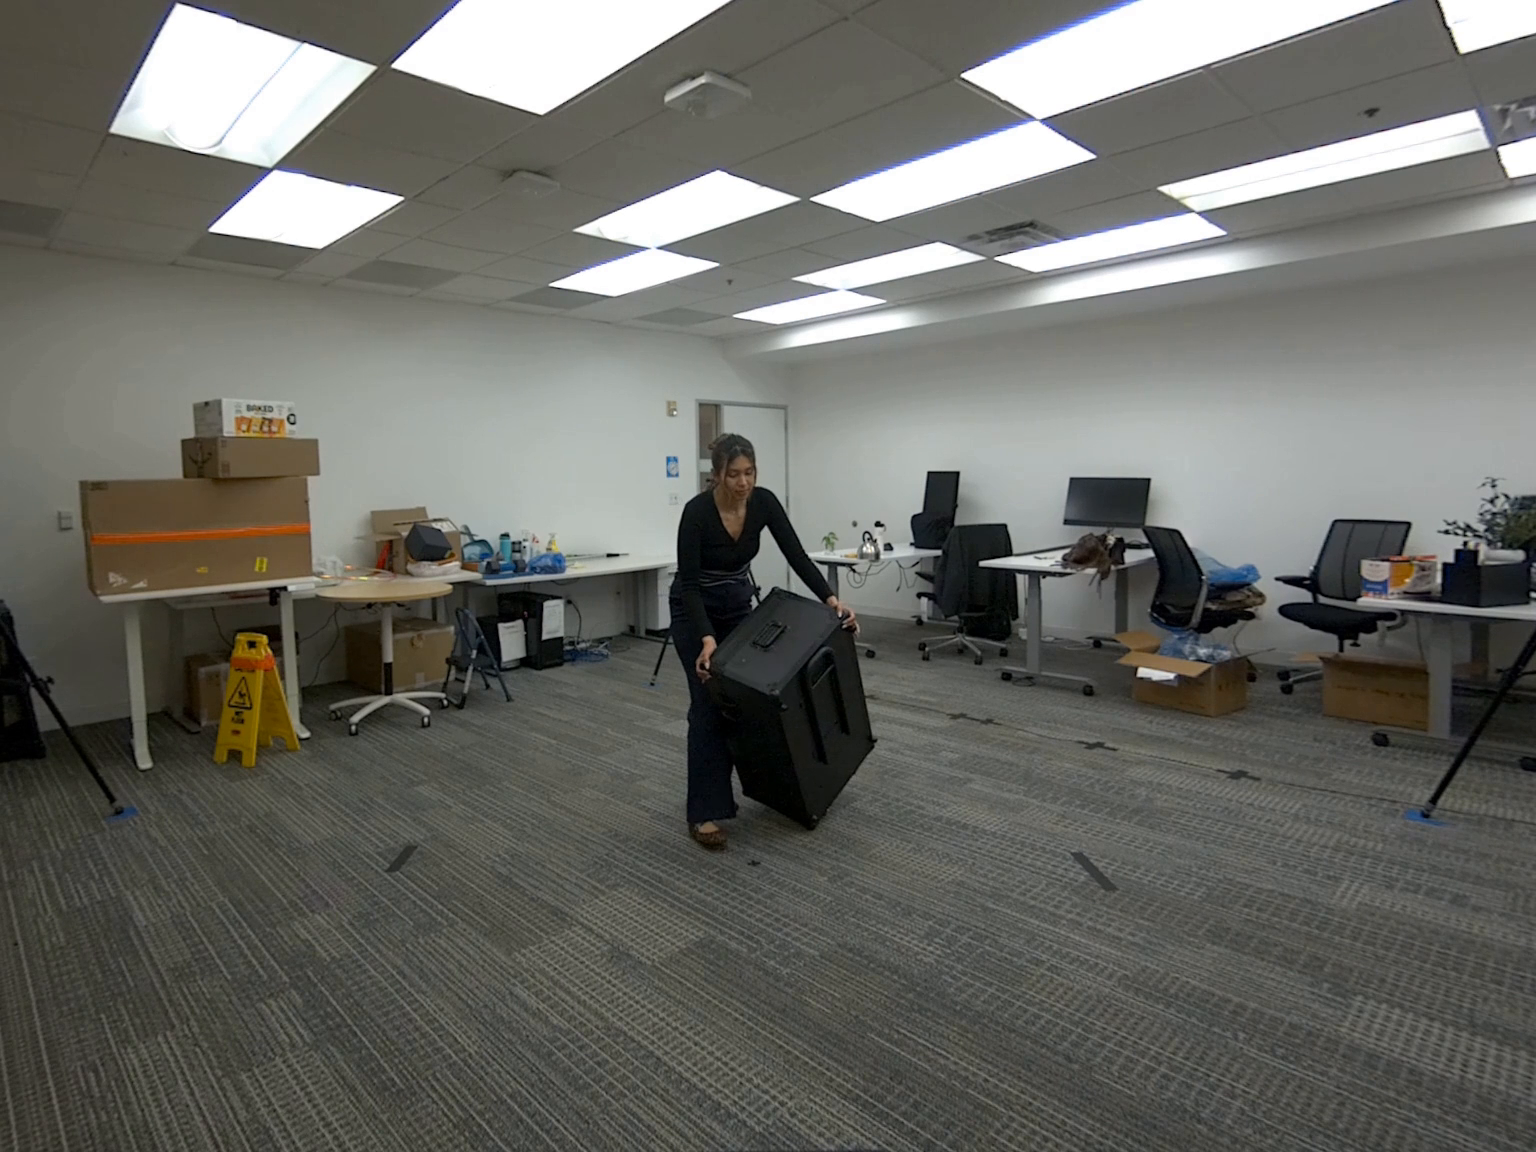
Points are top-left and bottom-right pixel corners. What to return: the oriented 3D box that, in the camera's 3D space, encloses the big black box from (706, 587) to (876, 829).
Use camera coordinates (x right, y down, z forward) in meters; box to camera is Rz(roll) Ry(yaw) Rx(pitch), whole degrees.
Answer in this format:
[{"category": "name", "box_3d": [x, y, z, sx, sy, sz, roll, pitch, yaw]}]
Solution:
[{"category": "big black box", "box_3d": [0.121, 0.554, 3.415, 0.410, 0.834, 0.520, 17, 47, 35]}]
